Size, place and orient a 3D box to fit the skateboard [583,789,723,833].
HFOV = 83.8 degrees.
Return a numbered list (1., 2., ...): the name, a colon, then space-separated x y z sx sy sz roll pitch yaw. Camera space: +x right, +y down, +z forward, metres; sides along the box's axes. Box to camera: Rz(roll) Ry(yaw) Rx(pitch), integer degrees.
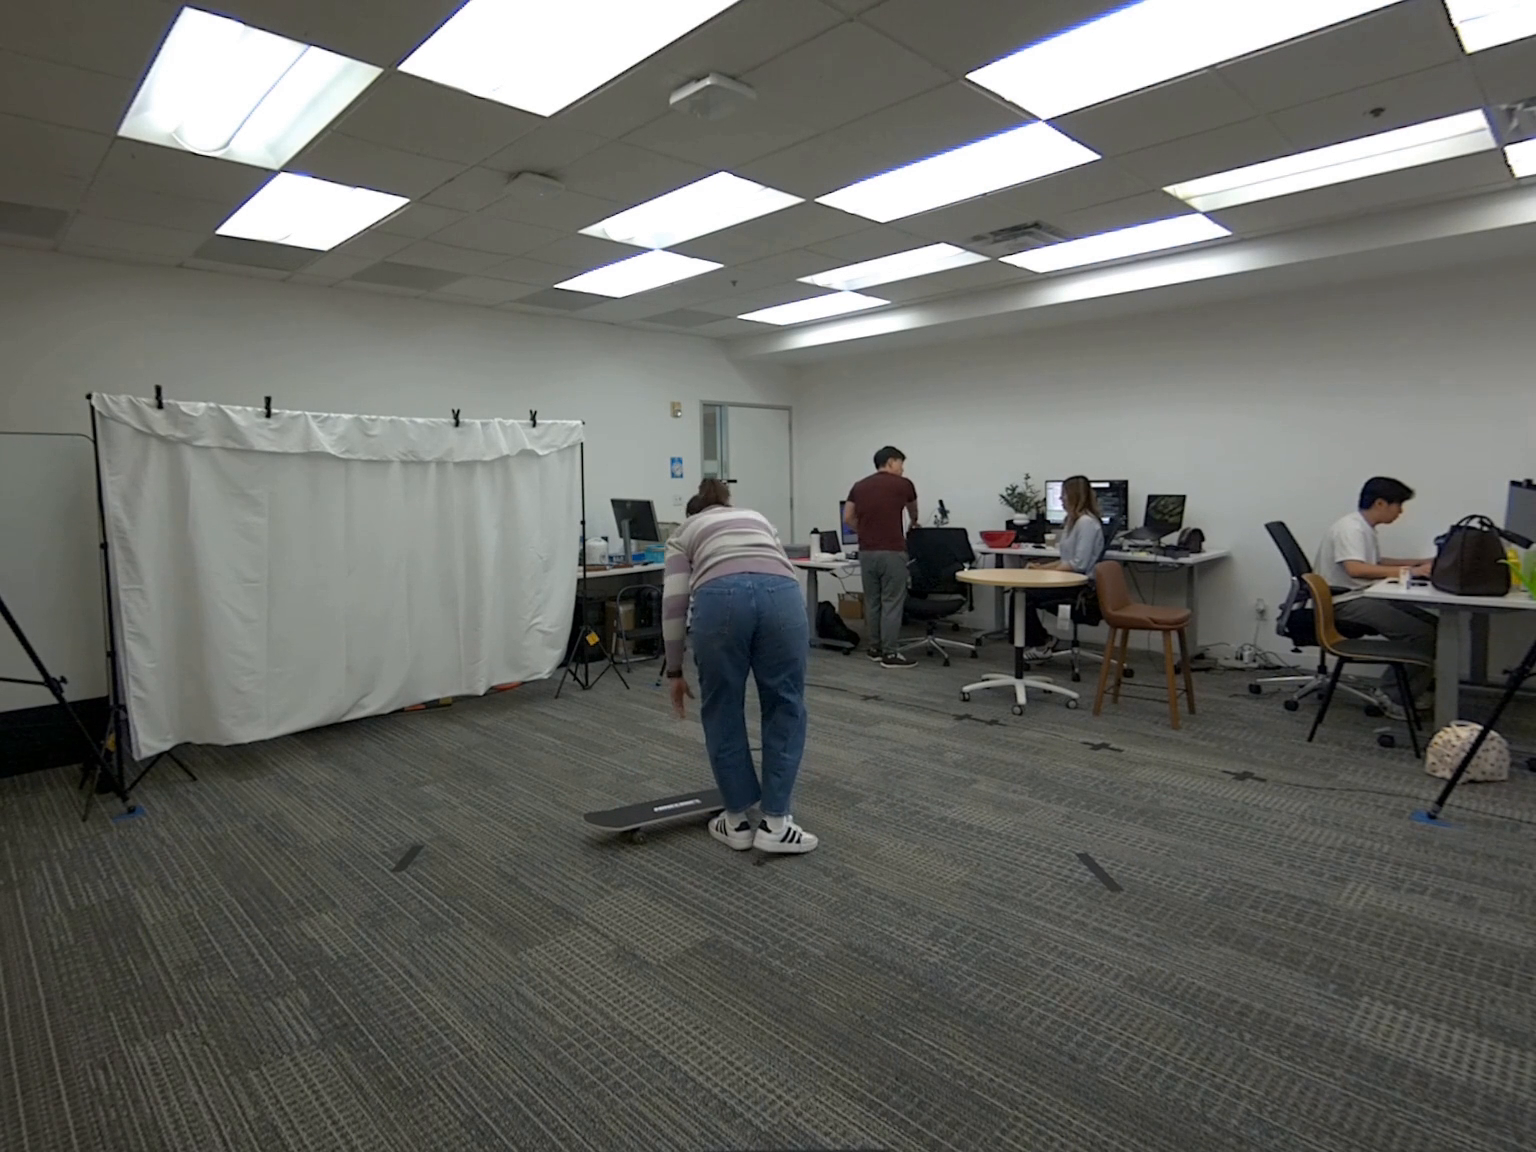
1. skateboard: -0.366 0.953 3.450 0.768 0.110 0.198 -4 6 -27
